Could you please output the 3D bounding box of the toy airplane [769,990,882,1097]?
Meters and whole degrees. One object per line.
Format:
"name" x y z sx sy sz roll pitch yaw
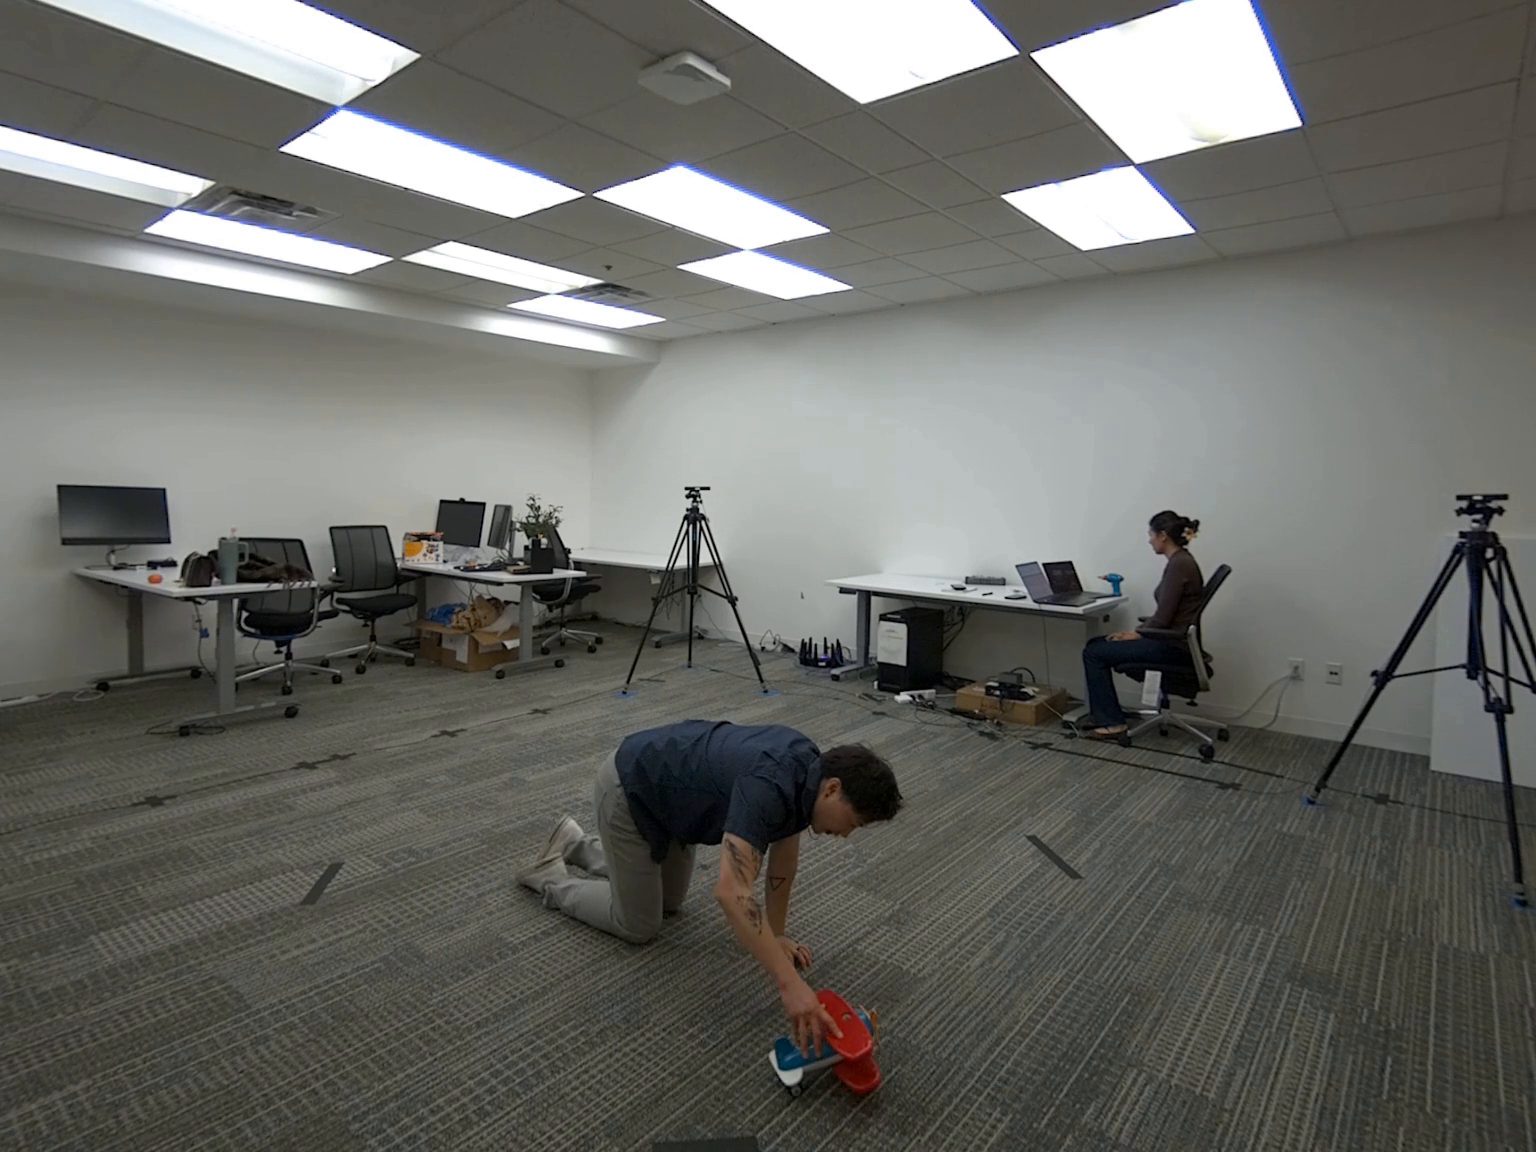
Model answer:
"toy airplane" 0.138 1.116 1.982 0.259 0.156 0.251 4 6 43
